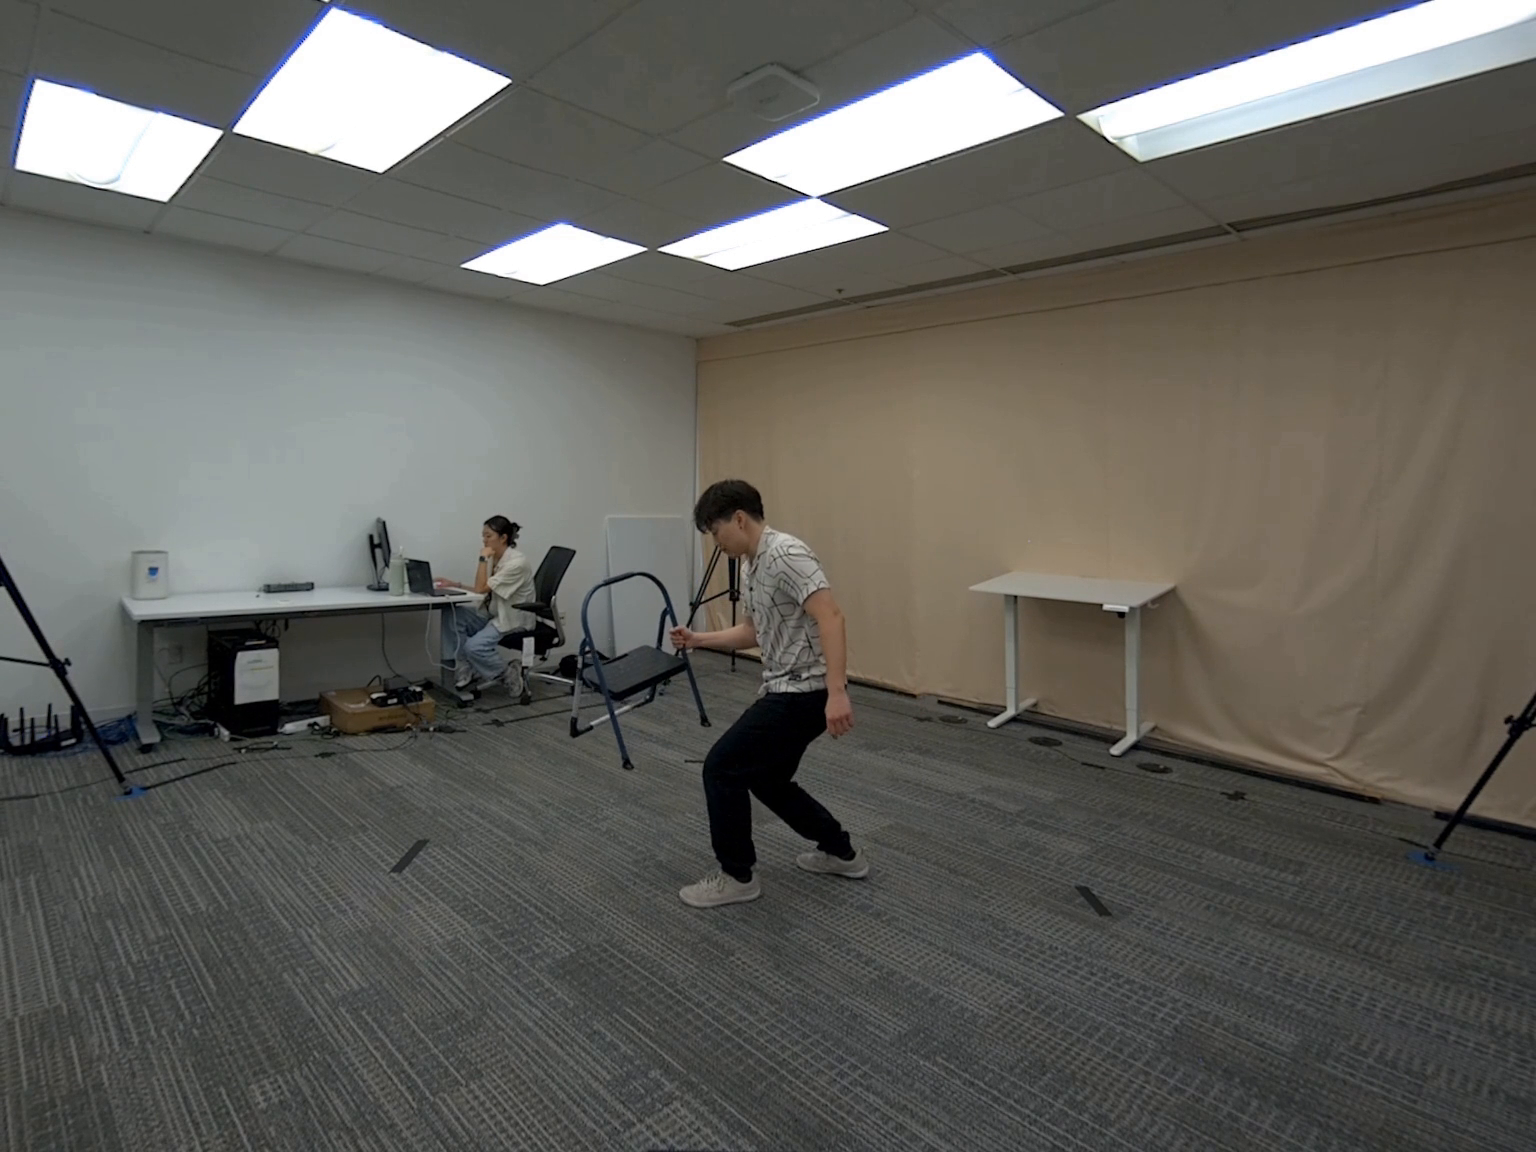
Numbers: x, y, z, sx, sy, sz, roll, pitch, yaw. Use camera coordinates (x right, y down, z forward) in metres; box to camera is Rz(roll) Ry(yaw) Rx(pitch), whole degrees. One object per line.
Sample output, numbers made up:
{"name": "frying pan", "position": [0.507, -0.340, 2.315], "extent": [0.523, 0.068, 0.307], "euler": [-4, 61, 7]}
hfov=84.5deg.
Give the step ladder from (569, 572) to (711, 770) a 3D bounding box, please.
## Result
{"name": "step ladder", "position": [-0.488, 0.307, 3.117], "extent": [0.359, 0.599, 0.424], "euler": [14, 22, 39]}
